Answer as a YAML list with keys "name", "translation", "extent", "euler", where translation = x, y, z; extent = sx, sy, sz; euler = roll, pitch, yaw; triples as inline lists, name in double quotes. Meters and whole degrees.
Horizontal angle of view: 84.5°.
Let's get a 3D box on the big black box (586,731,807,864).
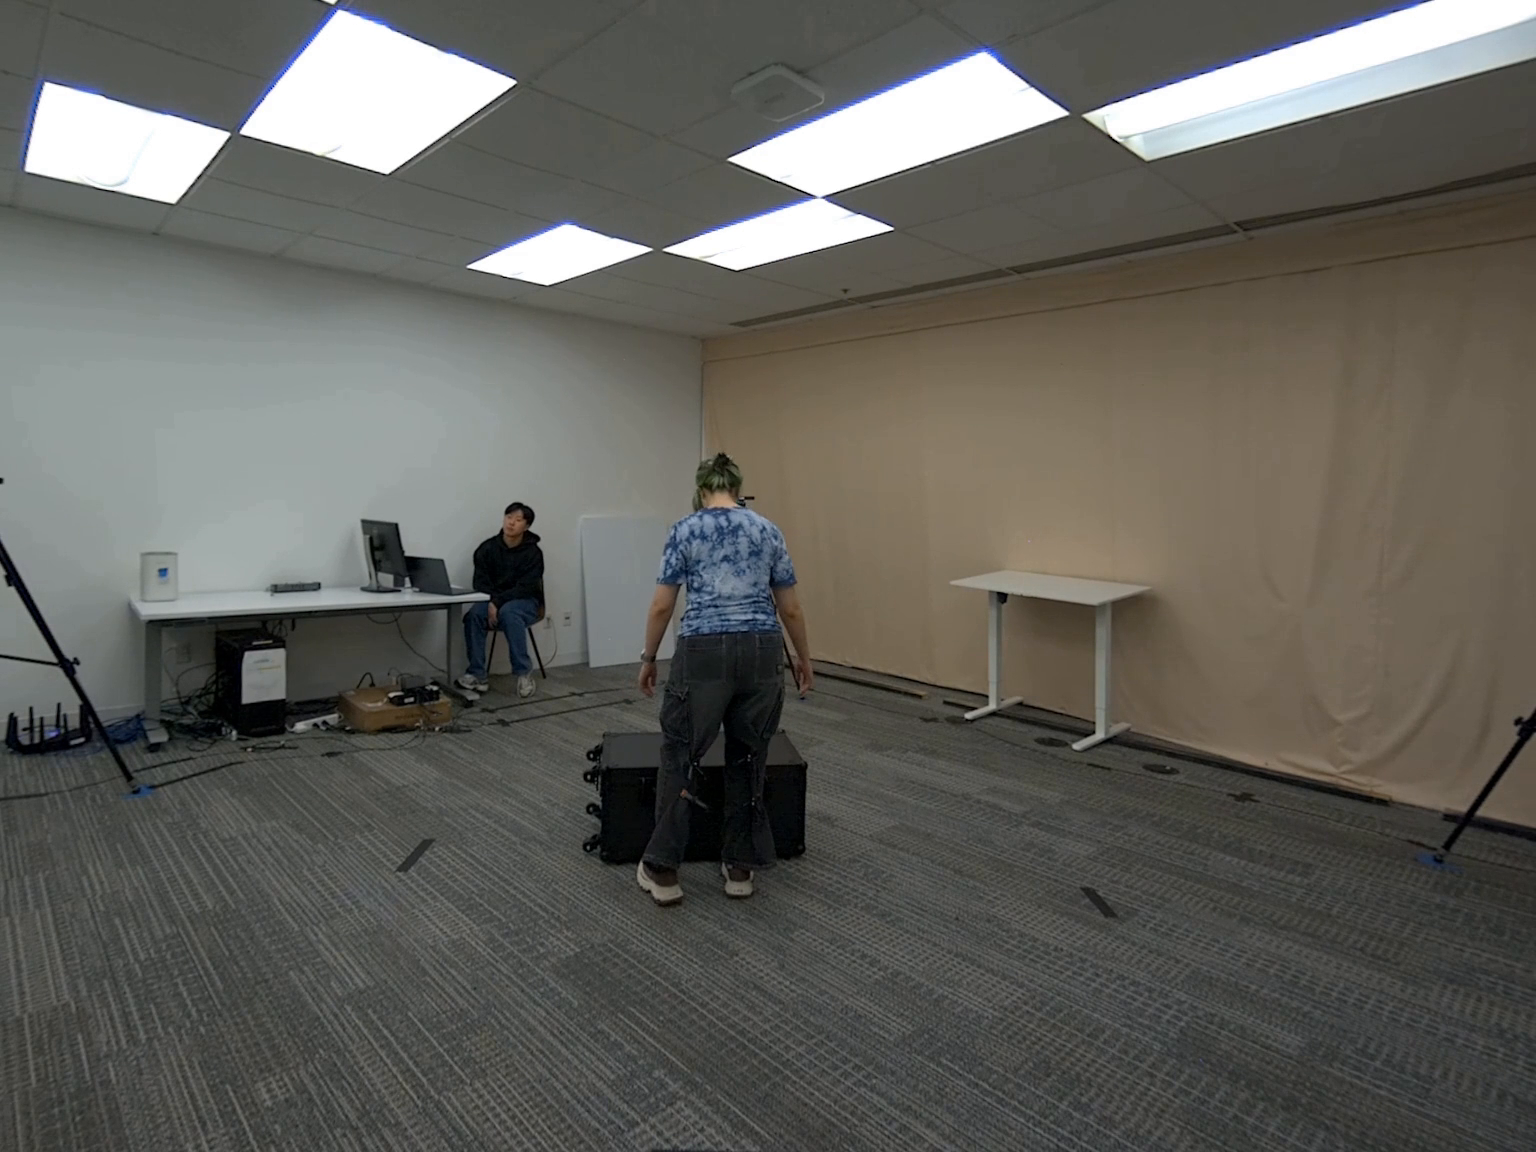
- name: "big black box"
  translation: [-0.257, 0.878, 3.425]
  extent: [0.856, 0.395, 0.526]
  euler: [0, 5, -8]
